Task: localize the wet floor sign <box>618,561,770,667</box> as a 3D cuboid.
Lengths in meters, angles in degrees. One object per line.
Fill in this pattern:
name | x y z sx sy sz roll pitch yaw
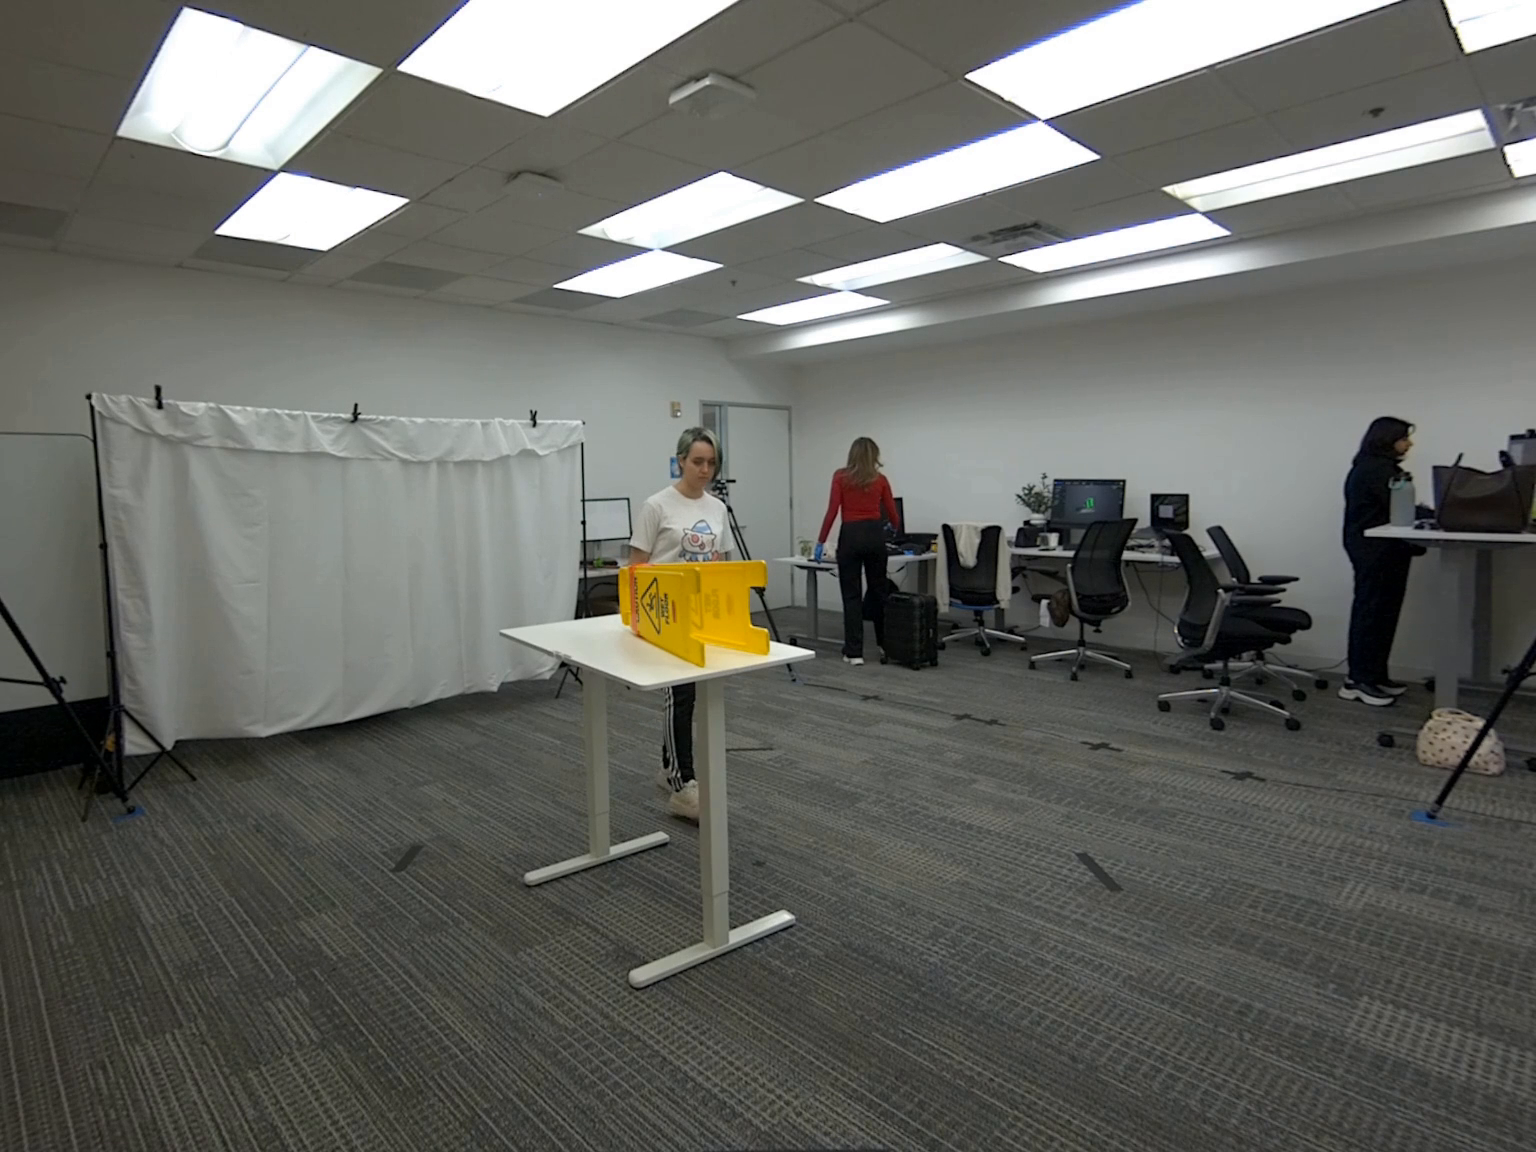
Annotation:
wet floor sign | -0.300 0.092 2.699 0.282 0.281 0.665 -5 6 -38
